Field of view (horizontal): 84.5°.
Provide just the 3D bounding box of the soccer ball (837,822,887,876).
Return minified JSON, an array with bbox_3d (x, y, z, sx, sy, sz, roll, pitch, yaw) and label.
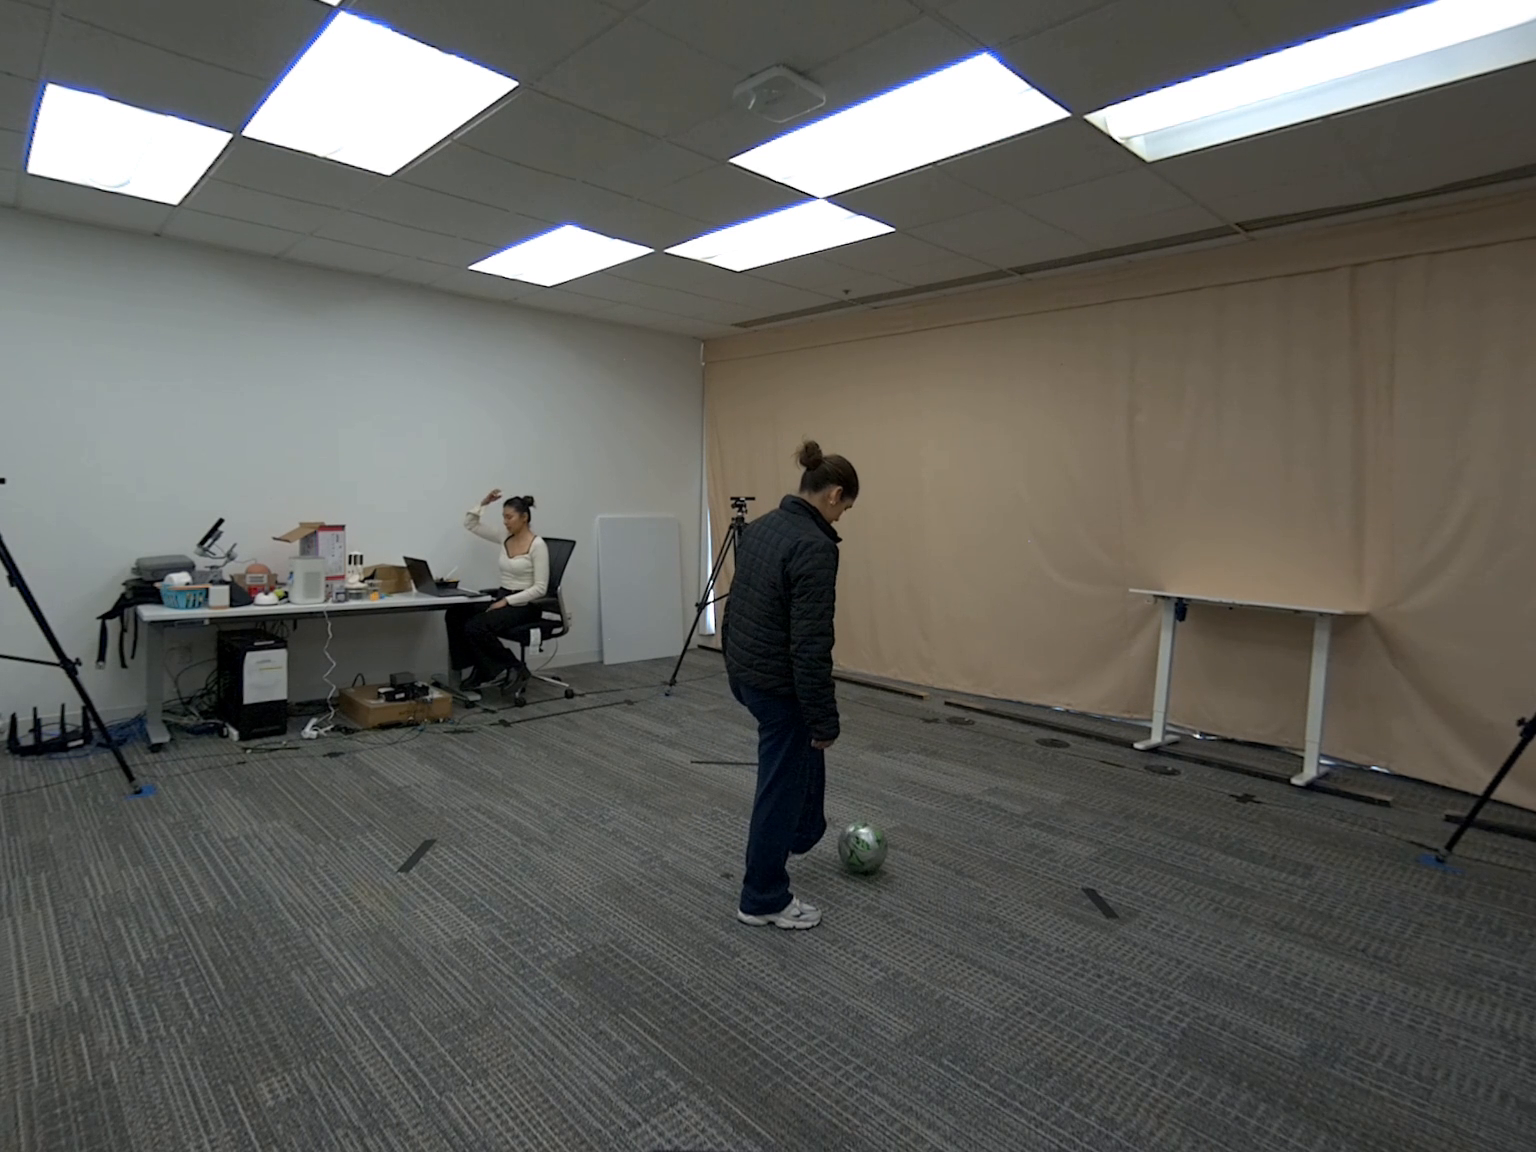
[{"bbox_3d":[0.347,1.022,3.167,0.187,0.187,0.188,1,4,-1],"label":"soccer ball"}]
